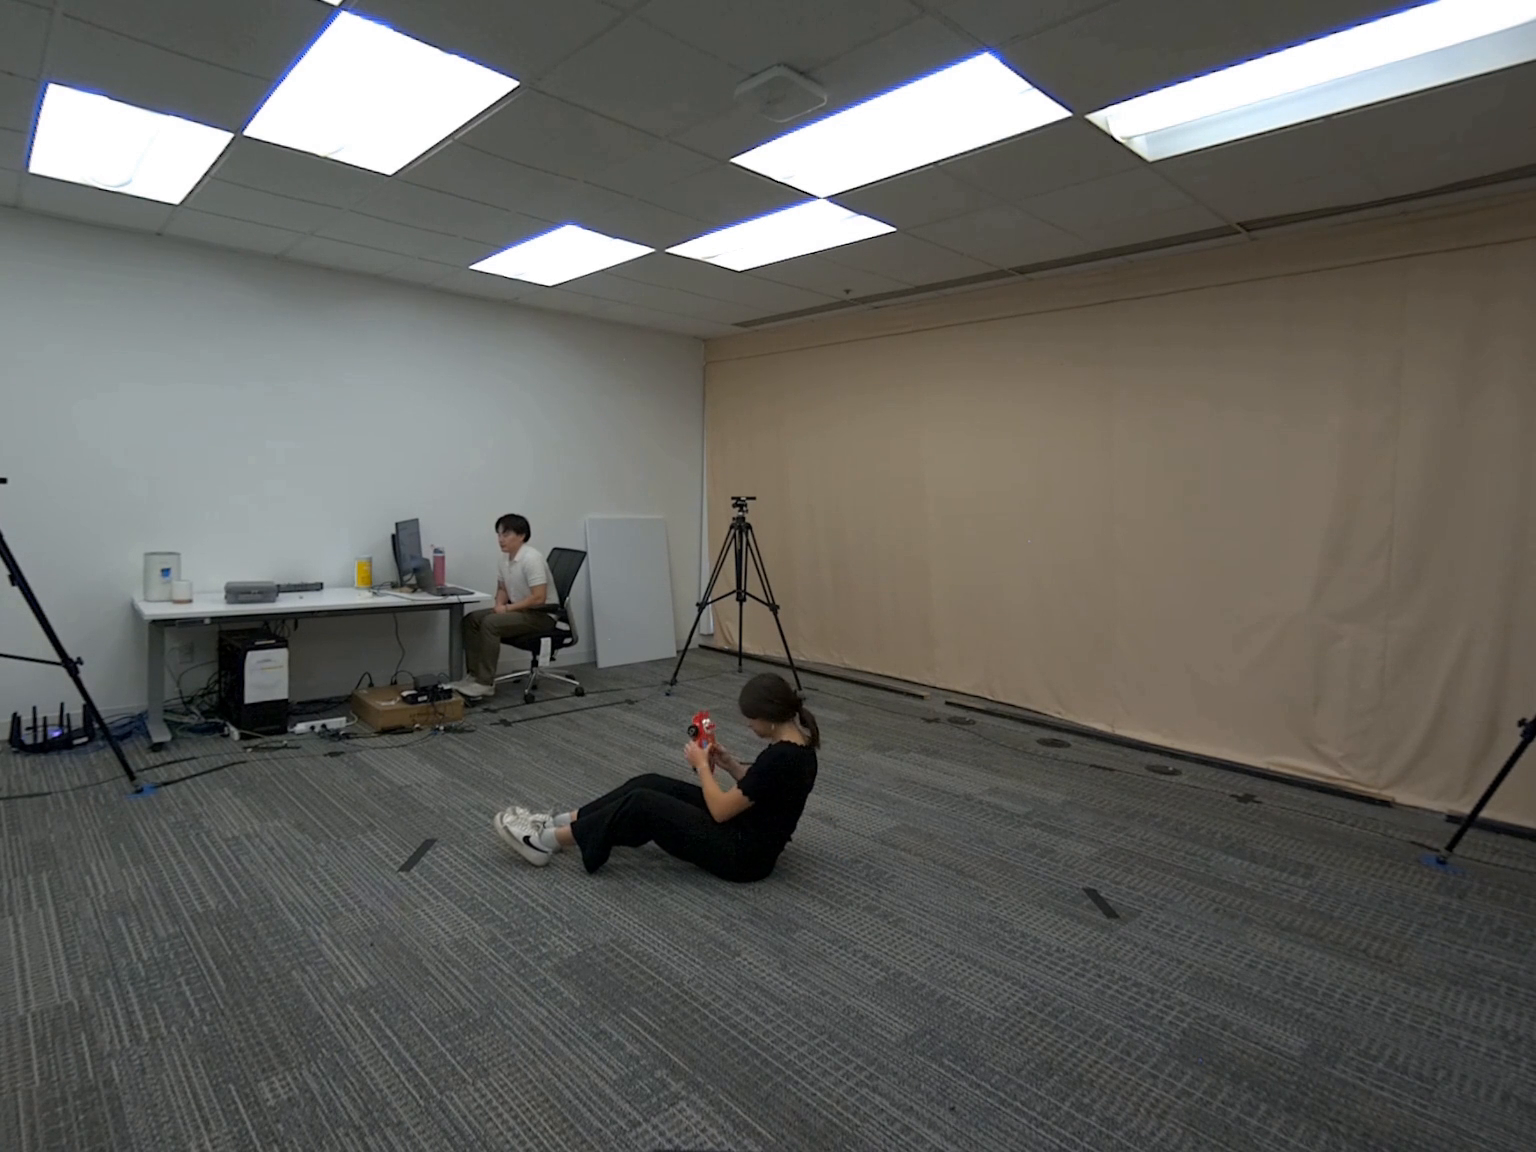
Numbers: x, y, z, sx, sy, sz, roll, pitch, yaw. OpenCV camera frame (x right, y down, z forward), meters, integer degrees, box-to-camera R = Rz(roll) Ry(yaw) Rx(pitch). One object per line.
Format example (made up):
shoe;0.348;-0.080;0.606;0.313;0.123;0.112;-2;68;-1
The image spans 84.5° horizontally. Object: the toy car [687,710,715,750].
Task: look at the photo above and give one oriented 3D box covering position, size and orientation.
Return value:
toy car;-0.248;0.680;3.342;0.085;0.255;0.127;0;-5;29
